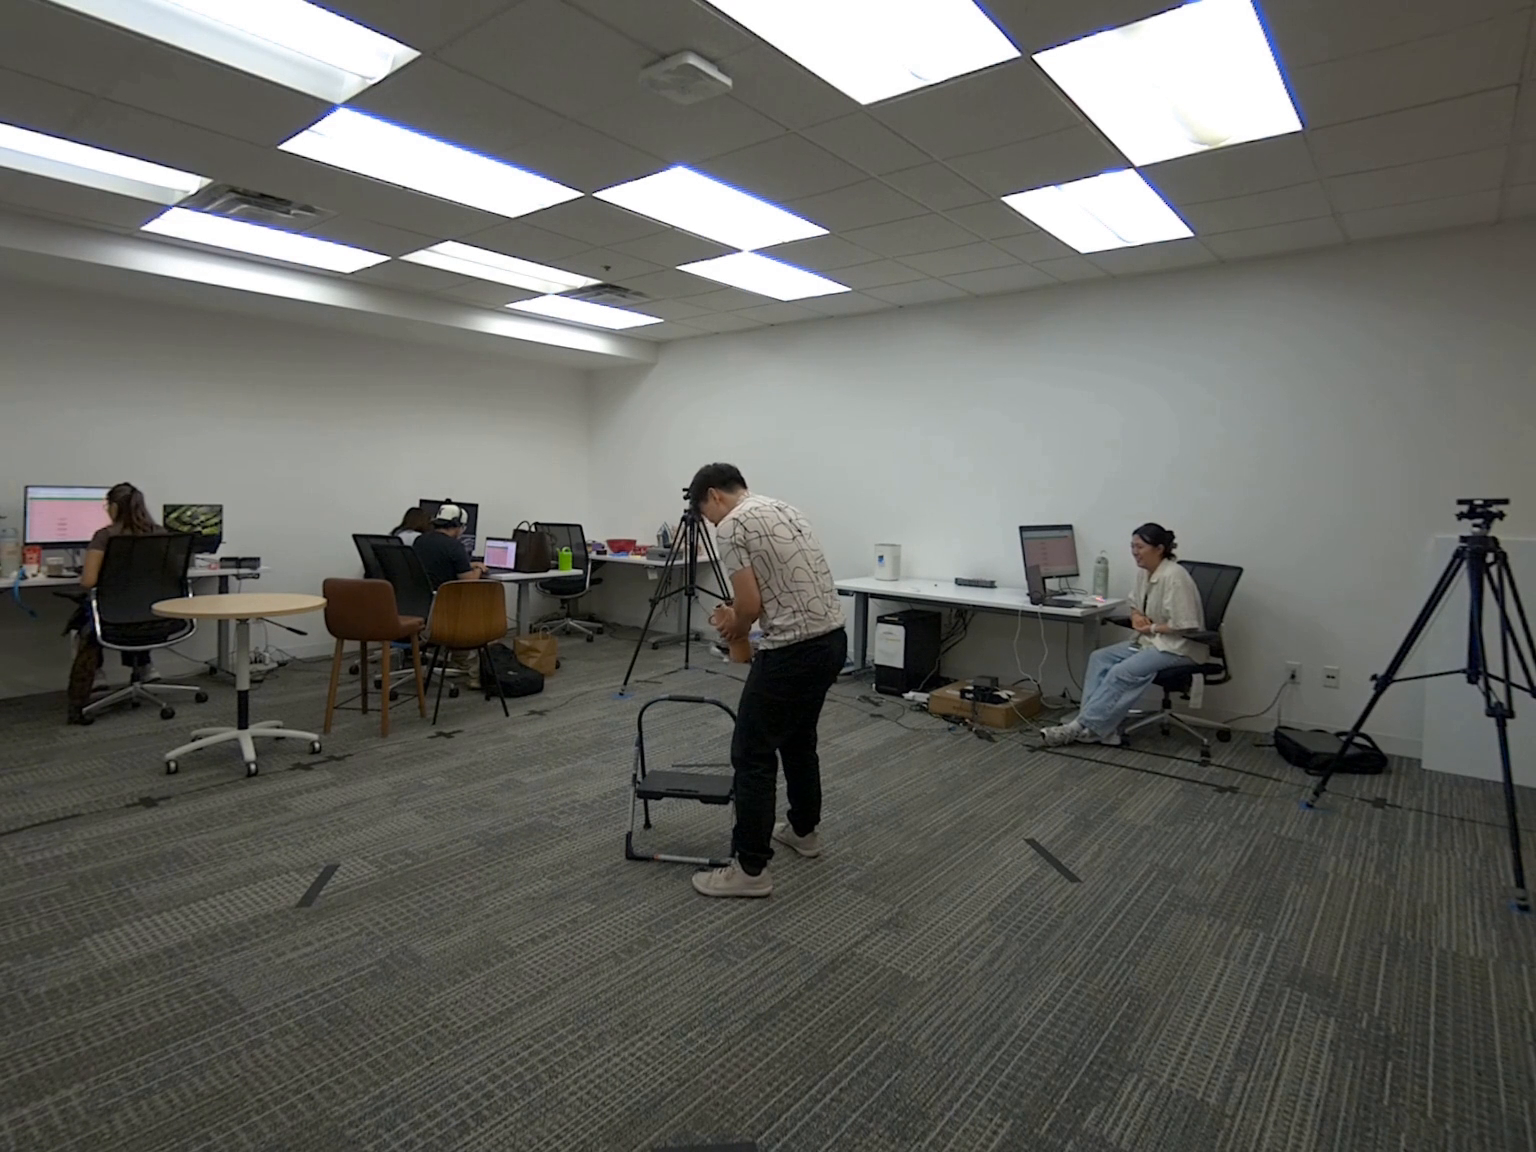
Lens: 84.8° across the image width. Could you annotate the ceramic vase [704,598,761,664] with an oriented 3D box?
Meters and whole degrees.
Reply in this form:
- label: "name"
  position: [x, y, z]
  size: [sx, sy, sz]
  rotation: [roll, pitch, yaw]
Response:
- label: "ceramic vase"
  position: [-0.135, 0.210, 3.316]
  size: [0.131, 0.218, 0.164]
  rotation: [-13, 8, -43]
